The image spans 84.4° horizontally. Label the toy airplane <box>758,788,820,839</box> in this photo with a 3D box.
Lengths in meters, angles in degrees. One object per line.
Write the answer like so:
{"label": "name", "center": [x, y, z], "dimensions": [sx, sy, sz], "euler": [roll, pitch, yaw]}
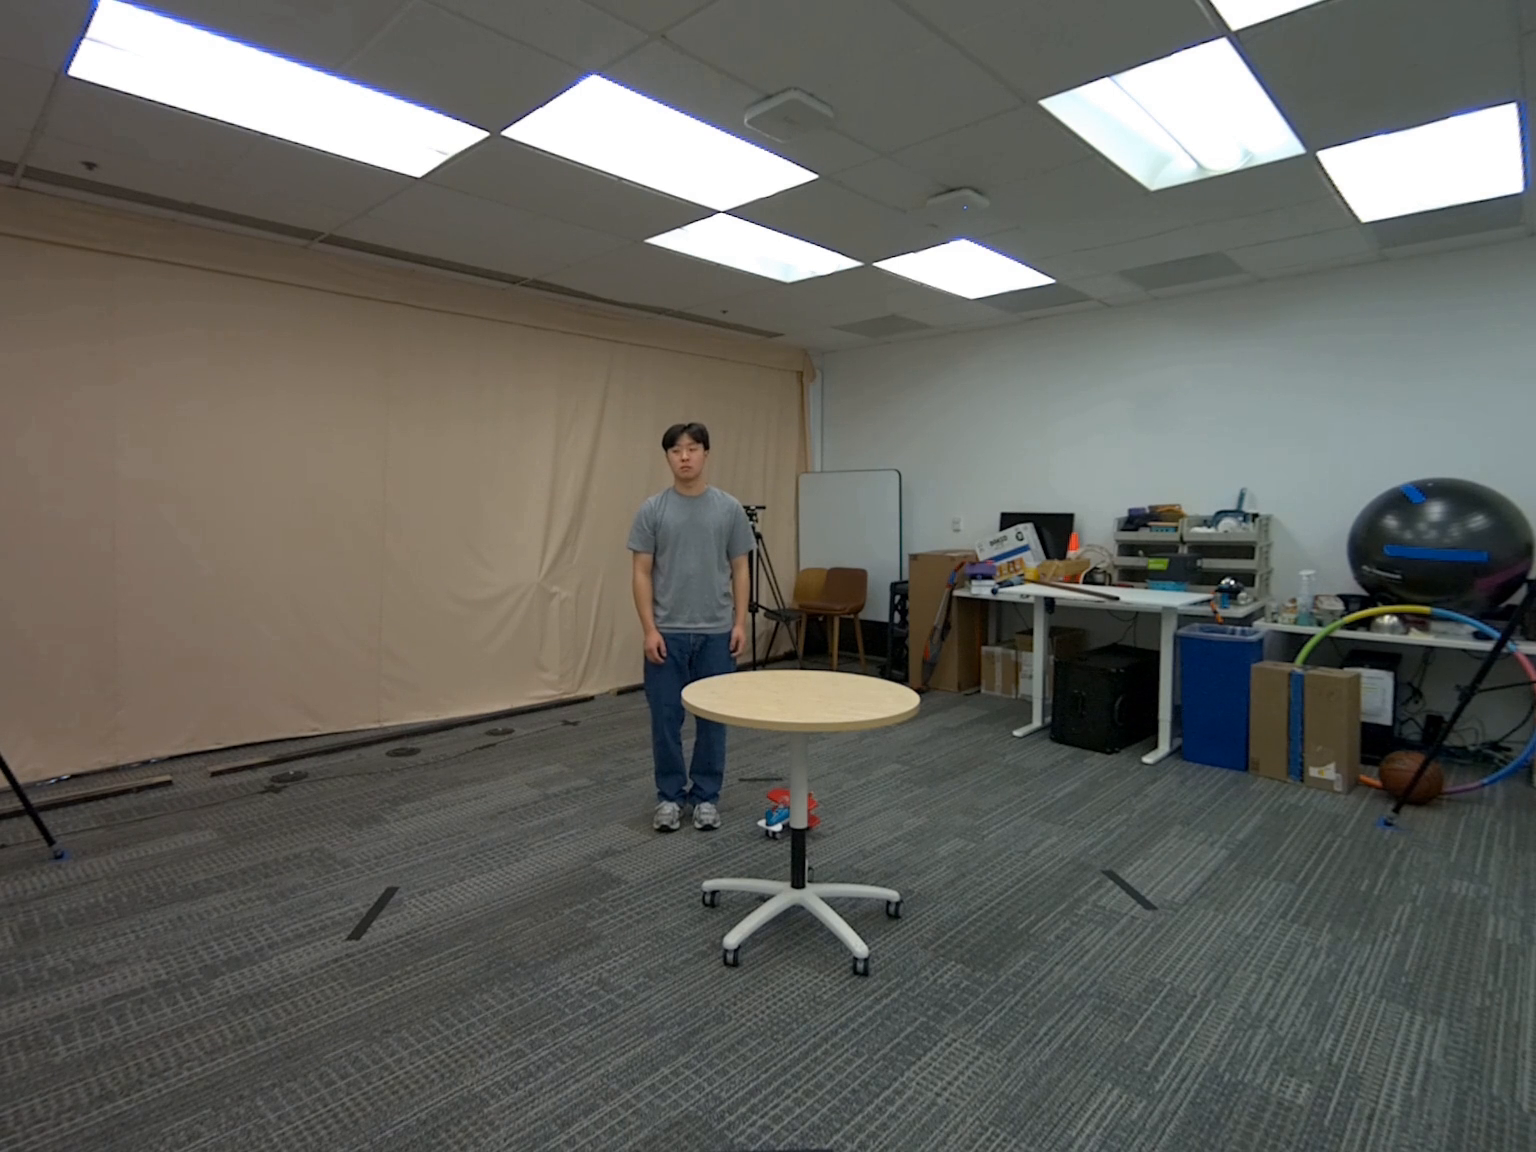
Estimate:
{"label": "toy airplane", "center": [0.100, 1.019, 3.570], "dimensions": [0.256, 0.156, 0.255], "euler": [1, 3, 17]}
